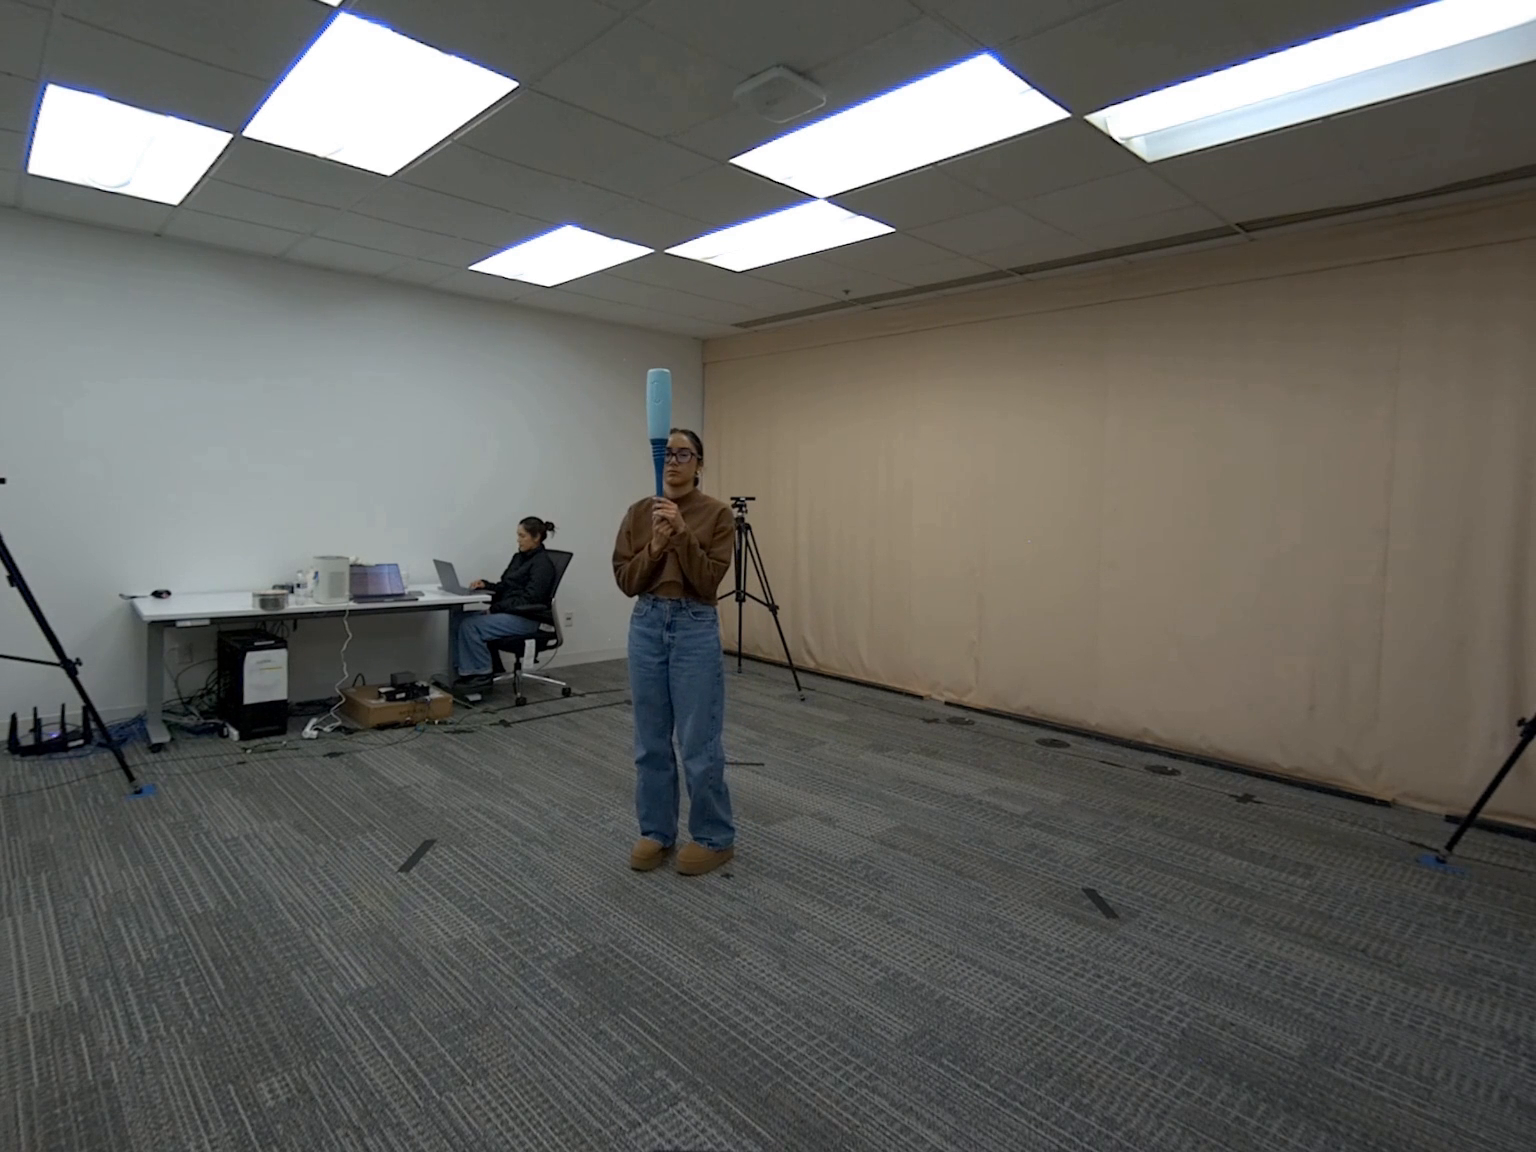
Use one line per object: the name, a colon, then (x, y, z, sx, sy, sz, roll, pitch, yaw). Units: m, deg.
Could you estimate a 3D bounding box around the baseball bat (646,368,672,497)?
baseball bat: (-0.399, -0.474, 3.018, 0.089, 0.542, 0.089, 2, 3, -1)
